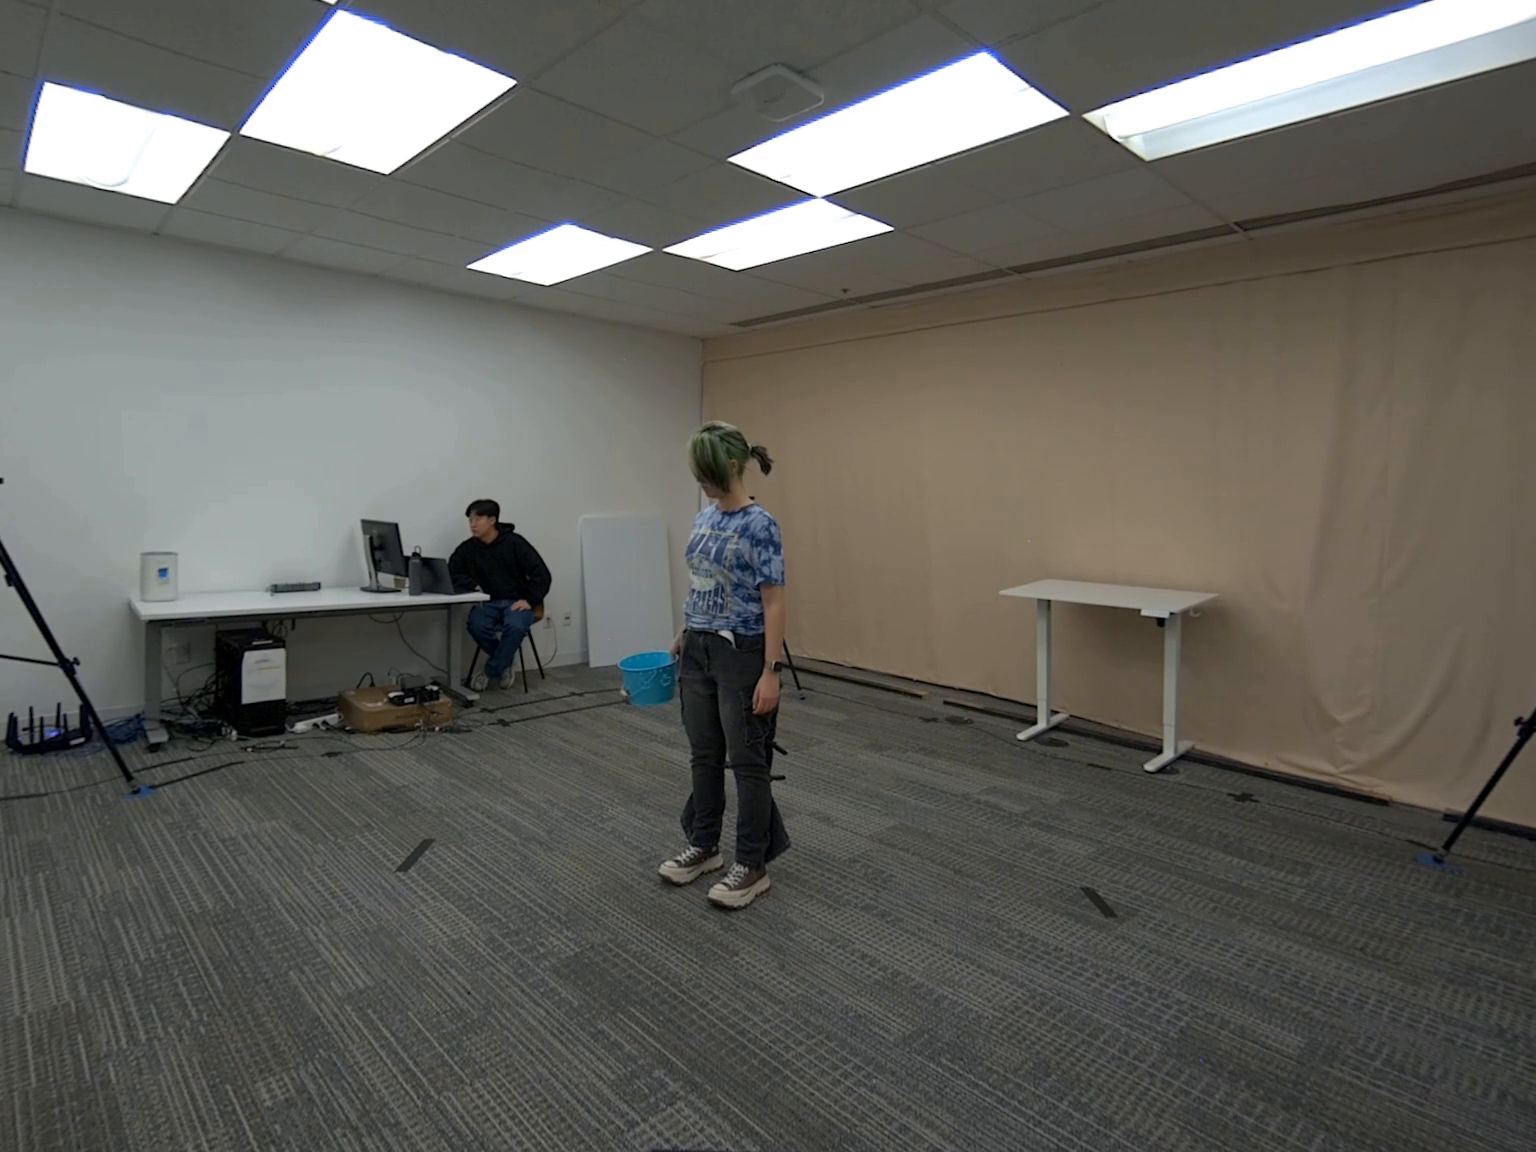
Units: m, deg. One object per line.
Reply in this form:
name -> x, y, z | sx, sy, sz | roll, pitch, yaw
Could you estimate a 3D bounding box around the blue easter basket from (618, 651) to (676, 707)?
blue easter basket -> -0.468, 0.388, 3.243 | 0.243, 0.155, 0.245 | -5, 10, -1
